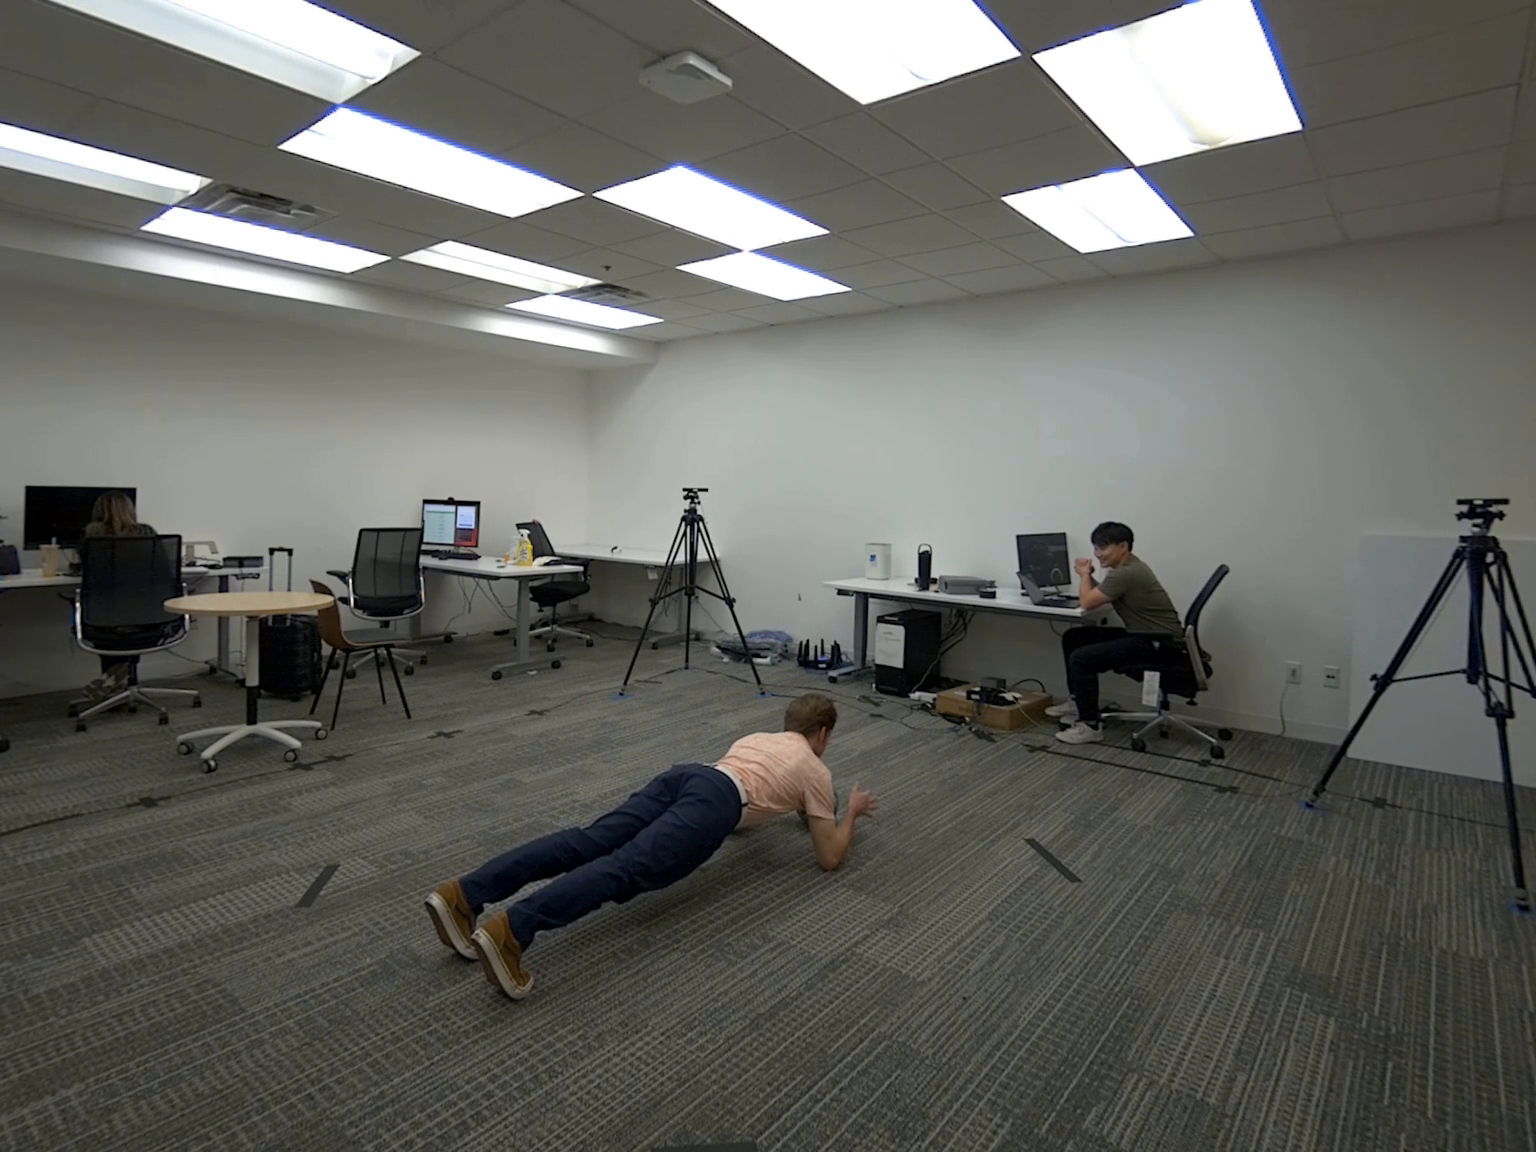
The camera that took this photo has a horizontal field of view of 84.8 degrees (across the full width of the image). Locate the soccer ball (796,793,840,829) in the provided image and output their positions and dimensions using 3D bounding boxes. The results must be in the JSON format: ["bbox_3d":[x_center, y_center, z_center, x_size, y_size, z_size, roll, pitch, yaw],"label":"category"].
[{"bbox_3d":[0.198,0.938,3.535,0.187,0.187,0.188,1,4,-2],"label":"soccer ball"}]
